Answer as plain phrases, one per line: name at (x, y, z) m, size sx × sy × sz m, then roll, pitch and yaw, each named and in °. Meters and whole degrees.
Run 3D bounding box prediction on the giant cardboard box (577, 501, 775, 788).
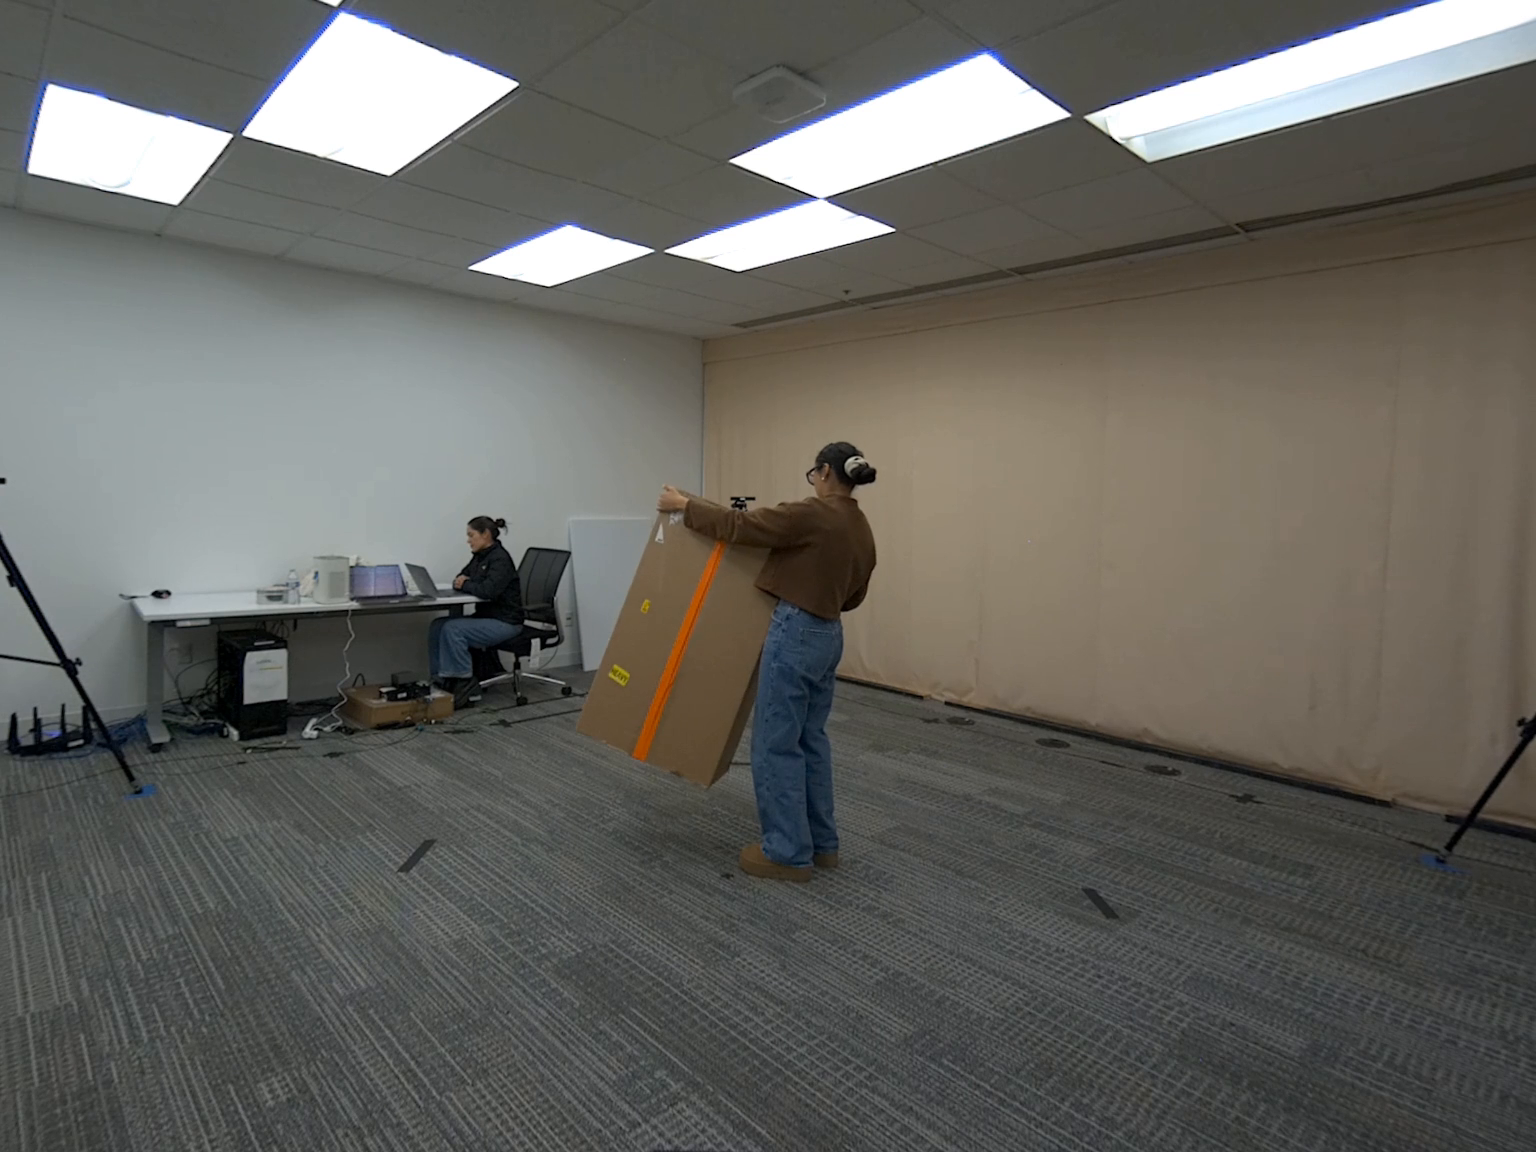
giant cardboard box at (-0.274, 0.238, 3.424) m, size 0.585 × 1.026 × 0.420 m, roll 21°, pitch -1°, yaw 12°
